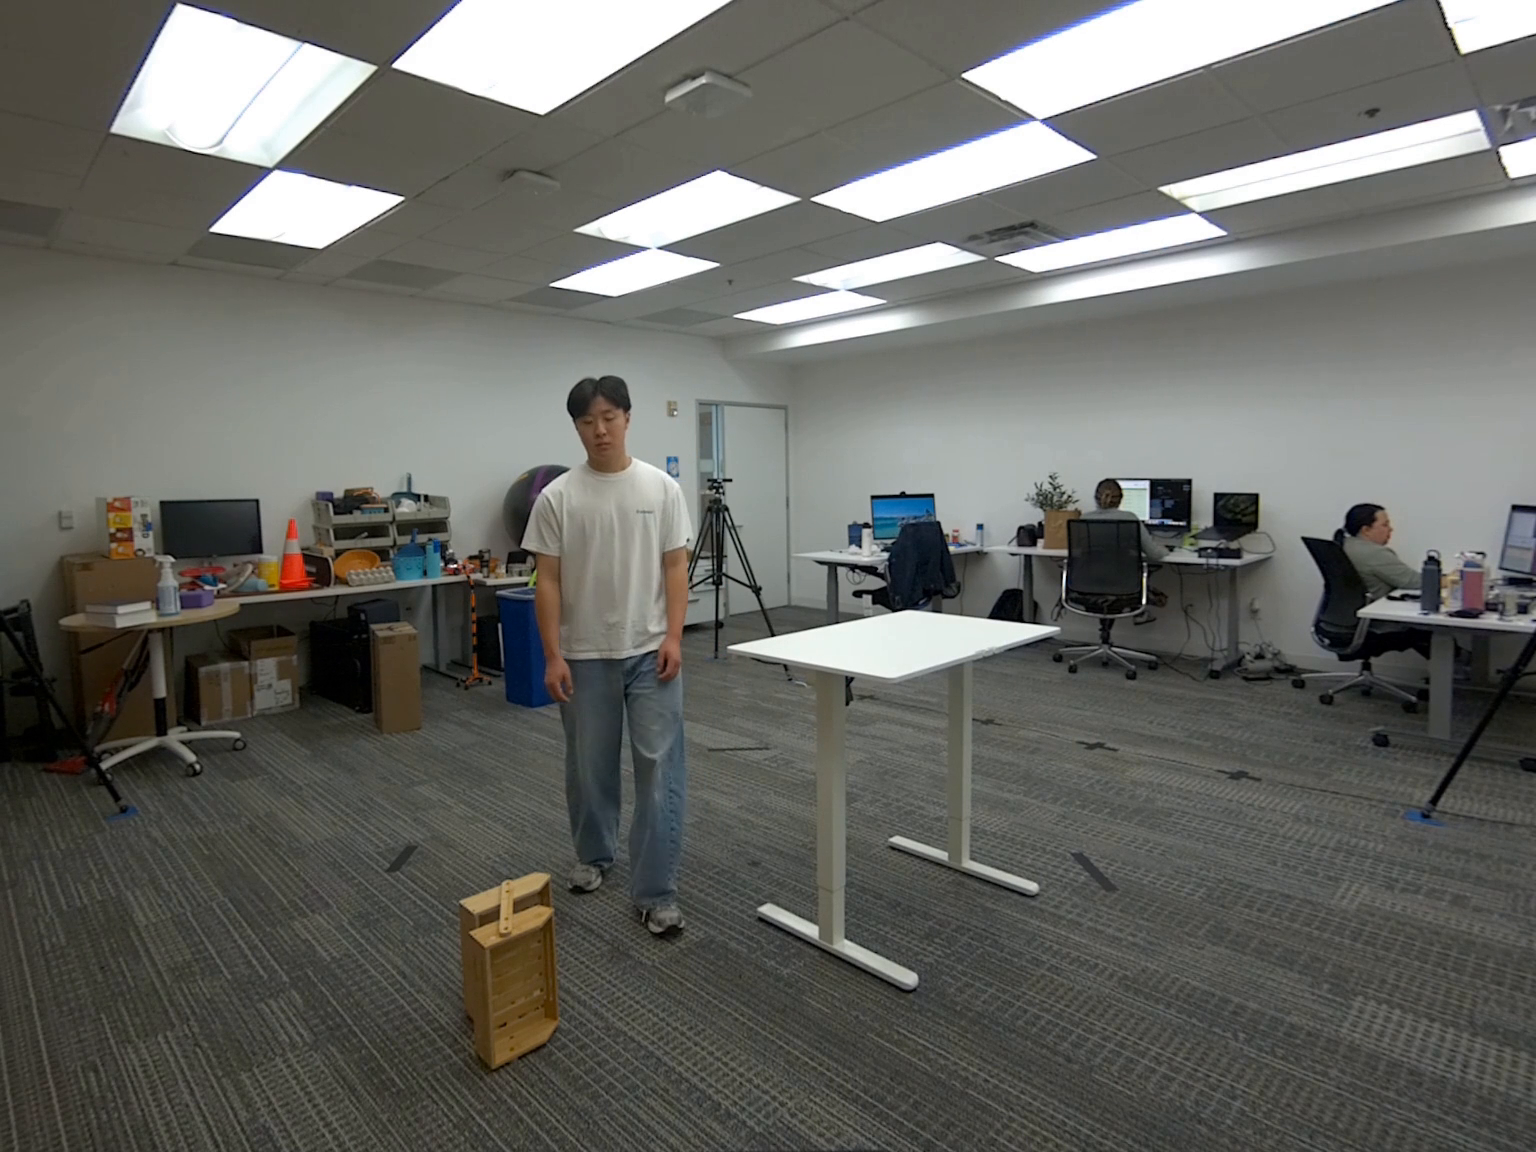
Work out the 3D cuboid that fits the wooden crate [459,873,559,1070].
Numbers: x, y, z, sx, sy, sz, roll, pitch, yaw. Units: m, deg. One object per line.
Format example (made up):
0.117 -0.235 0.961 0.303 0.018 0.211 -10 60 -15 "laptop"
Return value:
-0.641 1.002 2.206 0.294 0.323 0.281 -7 6 -43 "wooden crate"
